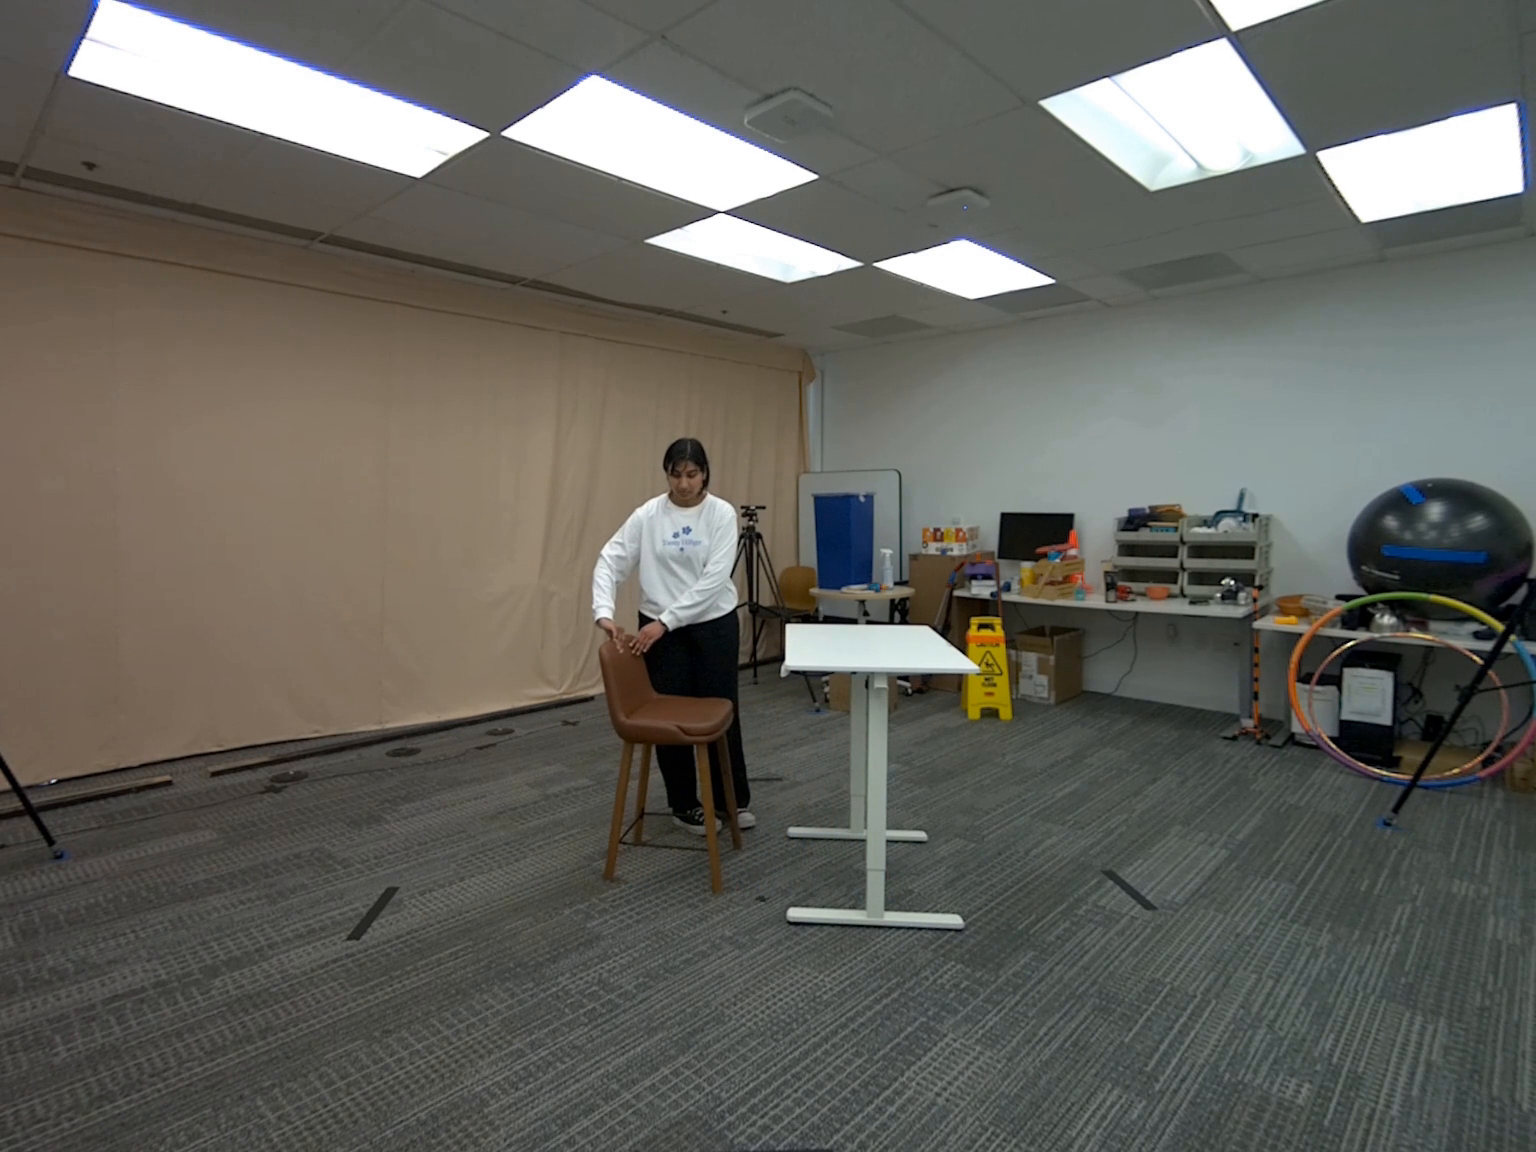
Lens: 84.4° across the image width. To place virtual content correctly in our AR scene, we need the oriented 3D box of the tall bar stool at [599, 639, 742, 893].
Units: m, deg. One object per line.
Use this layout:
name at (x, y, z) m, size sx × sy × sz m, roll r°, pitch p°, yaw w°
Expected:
tall bar stool at (-0.373, 0.687, 3.250) m, size 0.474 × 0.889 × 0.451 m, roll -3°, pitch 2°, yaw 12°
